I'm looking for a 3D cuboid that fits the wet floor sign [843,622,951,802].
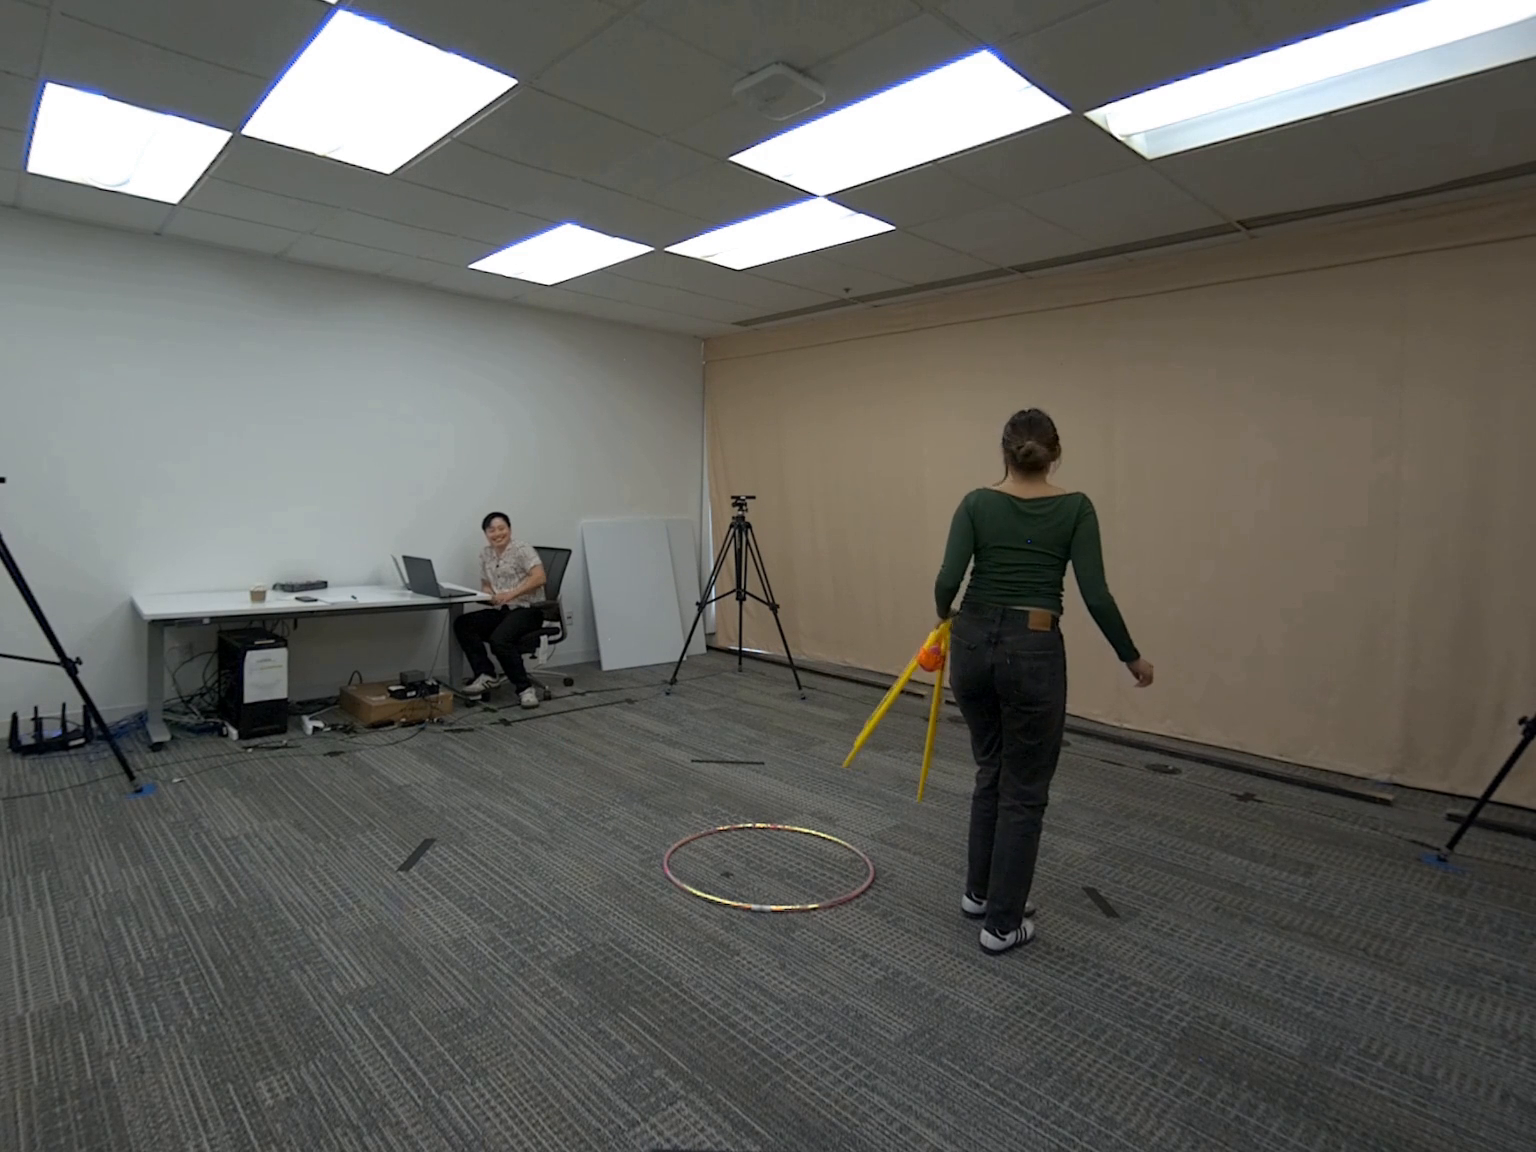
[{"bbox_3d":[0.558,0.431,3.048,0.294,0.642,0.280,23,16,13],"label":"wet floor sign"}]
